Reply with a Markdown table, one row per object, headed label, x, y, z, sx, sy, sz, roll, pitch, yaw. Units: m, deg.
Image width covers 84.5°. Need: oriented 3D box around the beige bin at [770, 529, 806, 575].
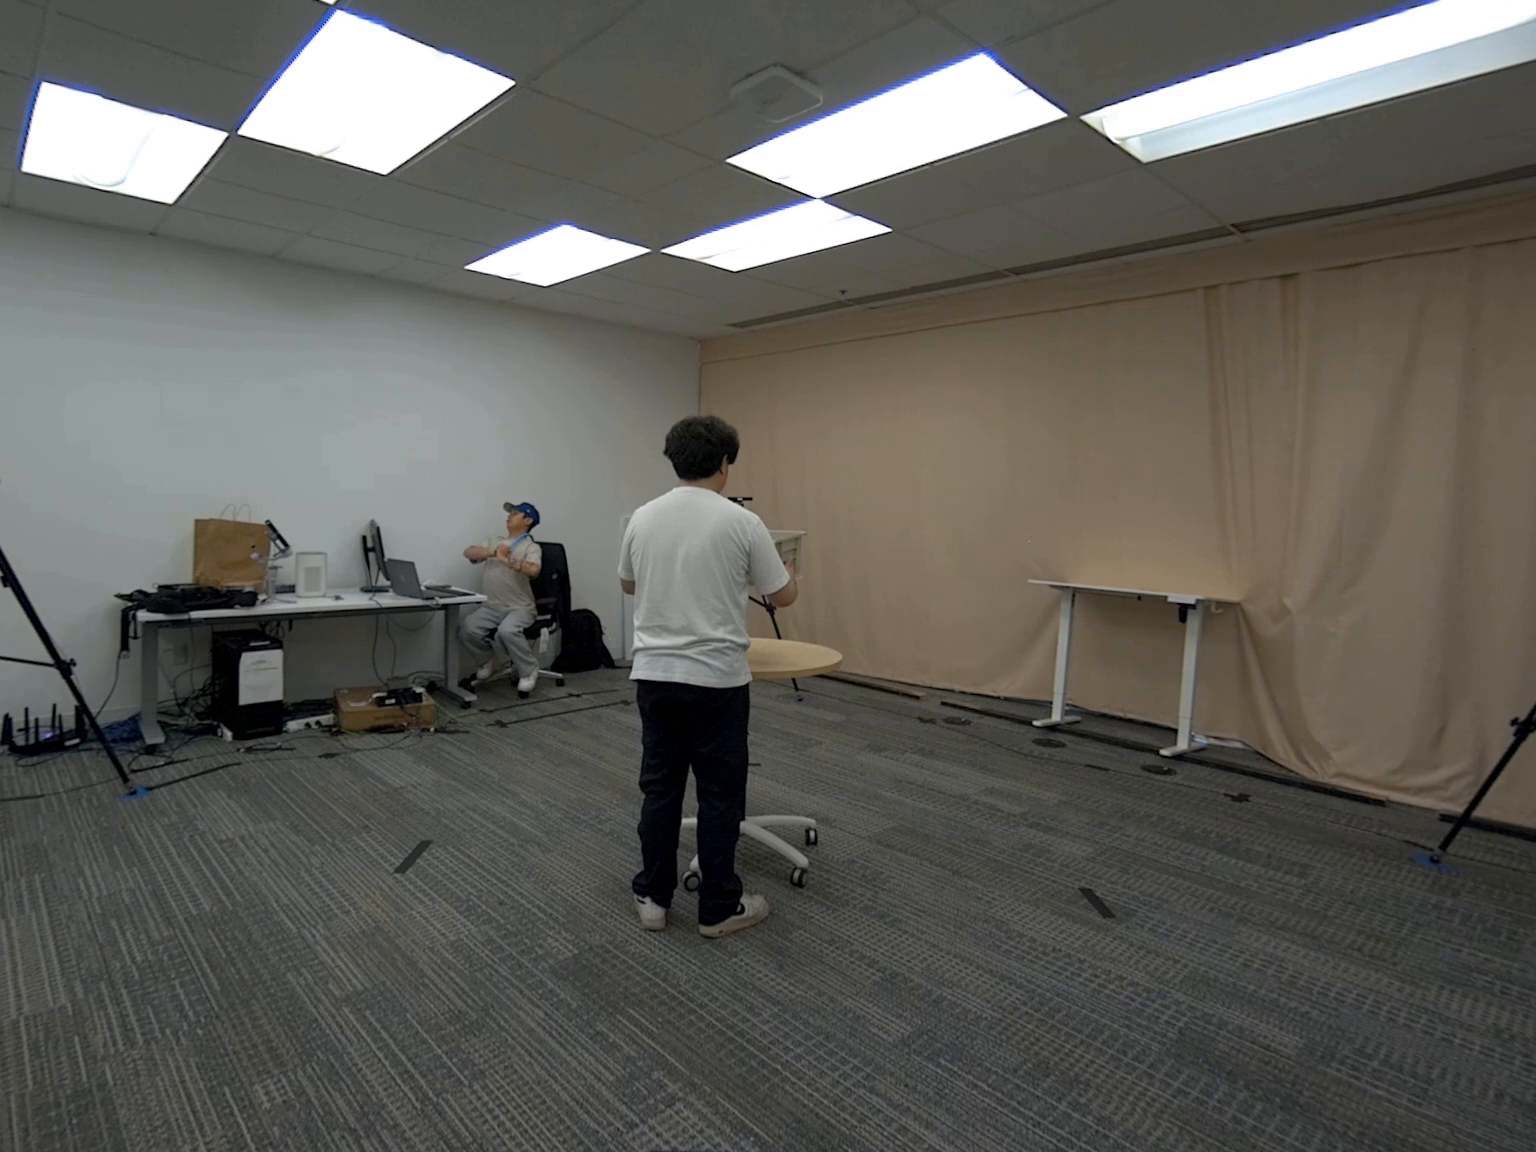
| label | x | y | z | sx | sy | sz | roll | pitch | yaw |
| --- | --- | --- | --- | --- | --- | --- | --- | --- | --- |
| beige bin | -0.116 | -0.065 | 3.159 | 0.430 | 0.188 | 0.372 | 4 | 8 | 23 |
